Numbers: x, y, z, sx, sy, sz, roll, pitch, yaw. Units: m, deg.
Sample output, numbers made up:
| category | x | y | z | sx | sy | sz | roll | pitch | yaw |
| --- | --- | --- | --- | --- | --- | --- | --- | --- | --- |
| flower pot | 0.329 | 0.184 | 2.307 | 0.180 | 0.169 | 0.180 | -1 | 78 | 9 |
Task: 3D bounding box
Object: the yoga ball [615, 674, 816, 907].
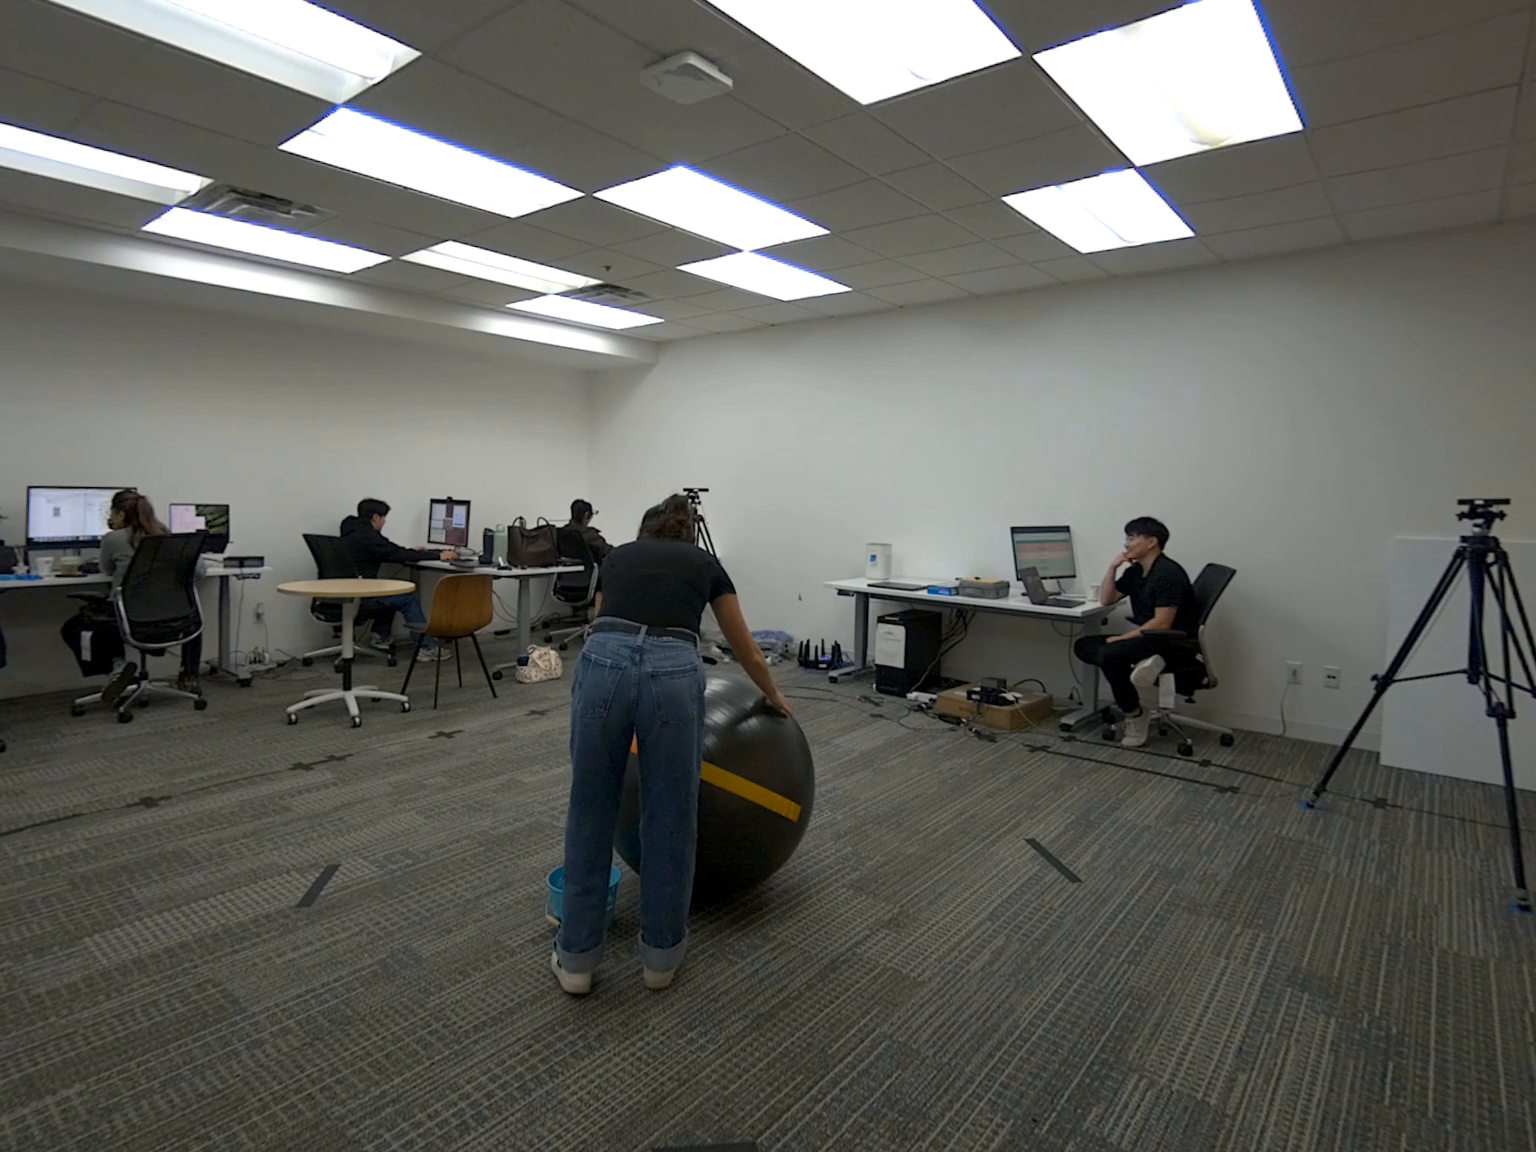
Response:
| category | x | y | z | sx | sy | sz | roll | pitch | yaw |
| --- | --- | --- | --- | --- | --- | --- | --- | --- | --- |
| yoga ball | -0.231 | 0.714 | 2.962 | 0.757 | 0.756 | 0.762 | 1 | 4 | -2 |
